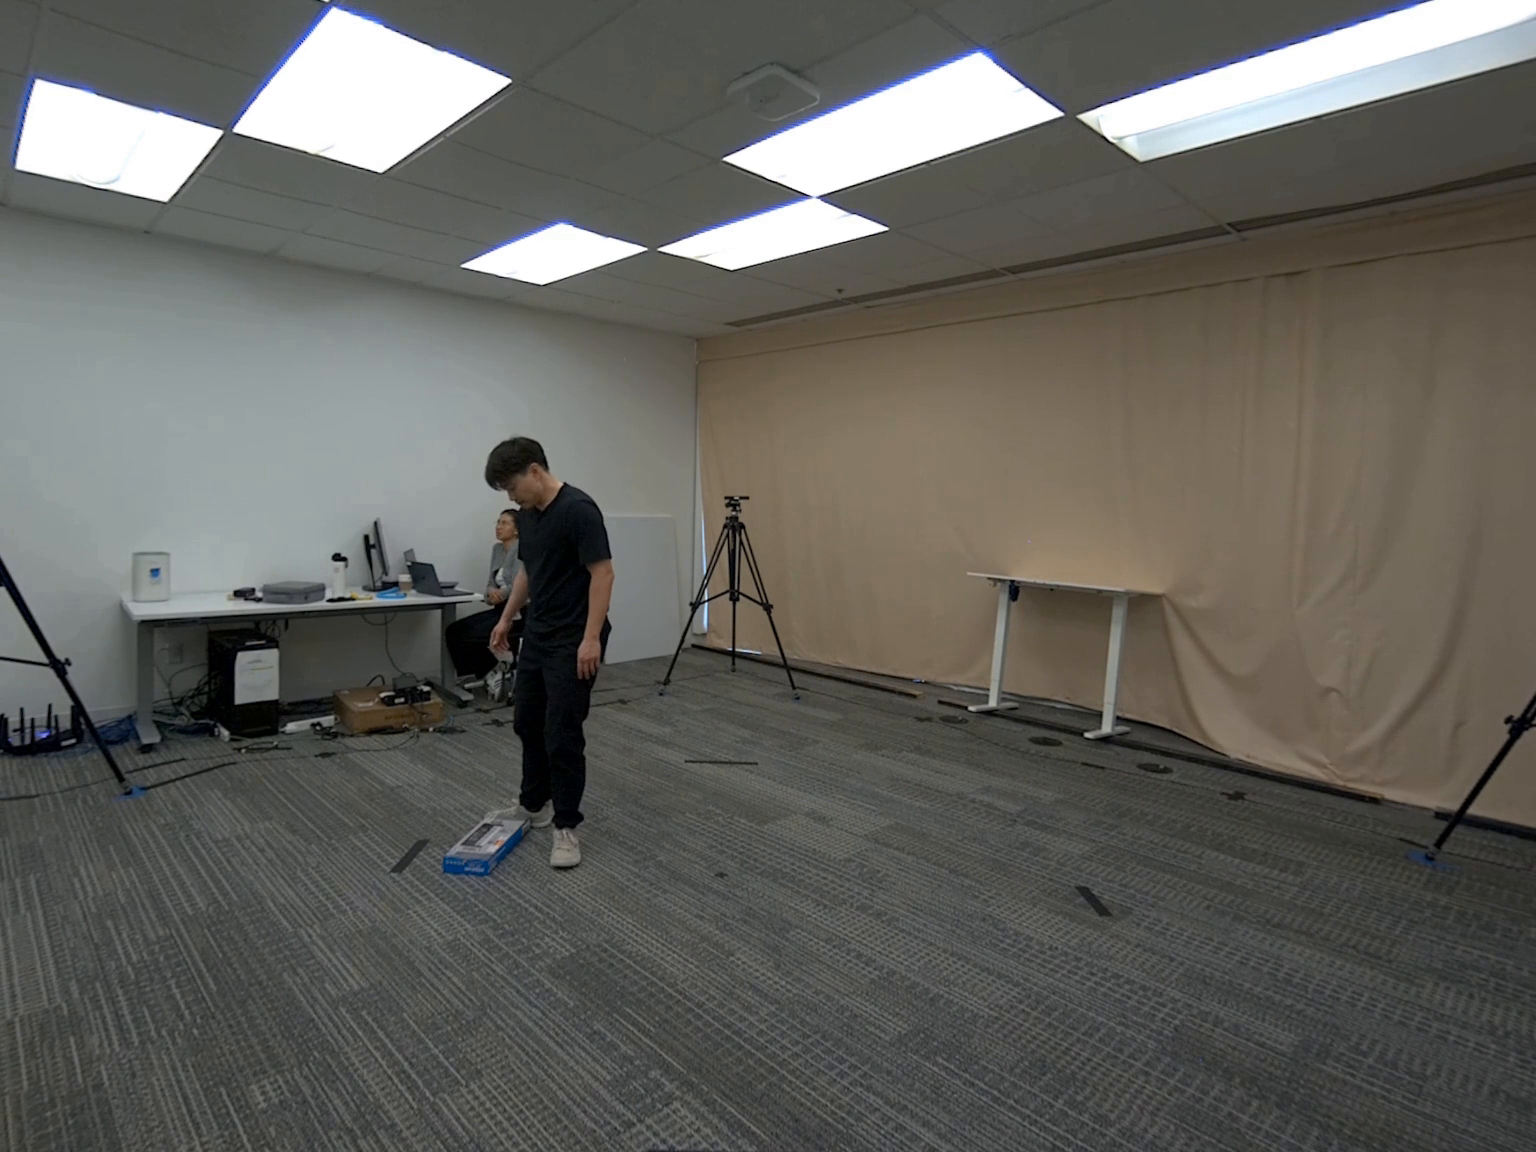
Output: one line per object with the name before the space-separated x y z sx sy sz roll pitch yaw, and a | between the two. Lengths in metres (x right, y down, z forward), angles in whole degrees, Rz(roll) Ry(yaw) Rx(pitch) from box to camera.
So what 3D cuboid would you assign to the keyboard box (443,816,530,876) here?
keyboard box | -1.091 1.039 3.271 0.177 0.059 0.436 2 6 4
